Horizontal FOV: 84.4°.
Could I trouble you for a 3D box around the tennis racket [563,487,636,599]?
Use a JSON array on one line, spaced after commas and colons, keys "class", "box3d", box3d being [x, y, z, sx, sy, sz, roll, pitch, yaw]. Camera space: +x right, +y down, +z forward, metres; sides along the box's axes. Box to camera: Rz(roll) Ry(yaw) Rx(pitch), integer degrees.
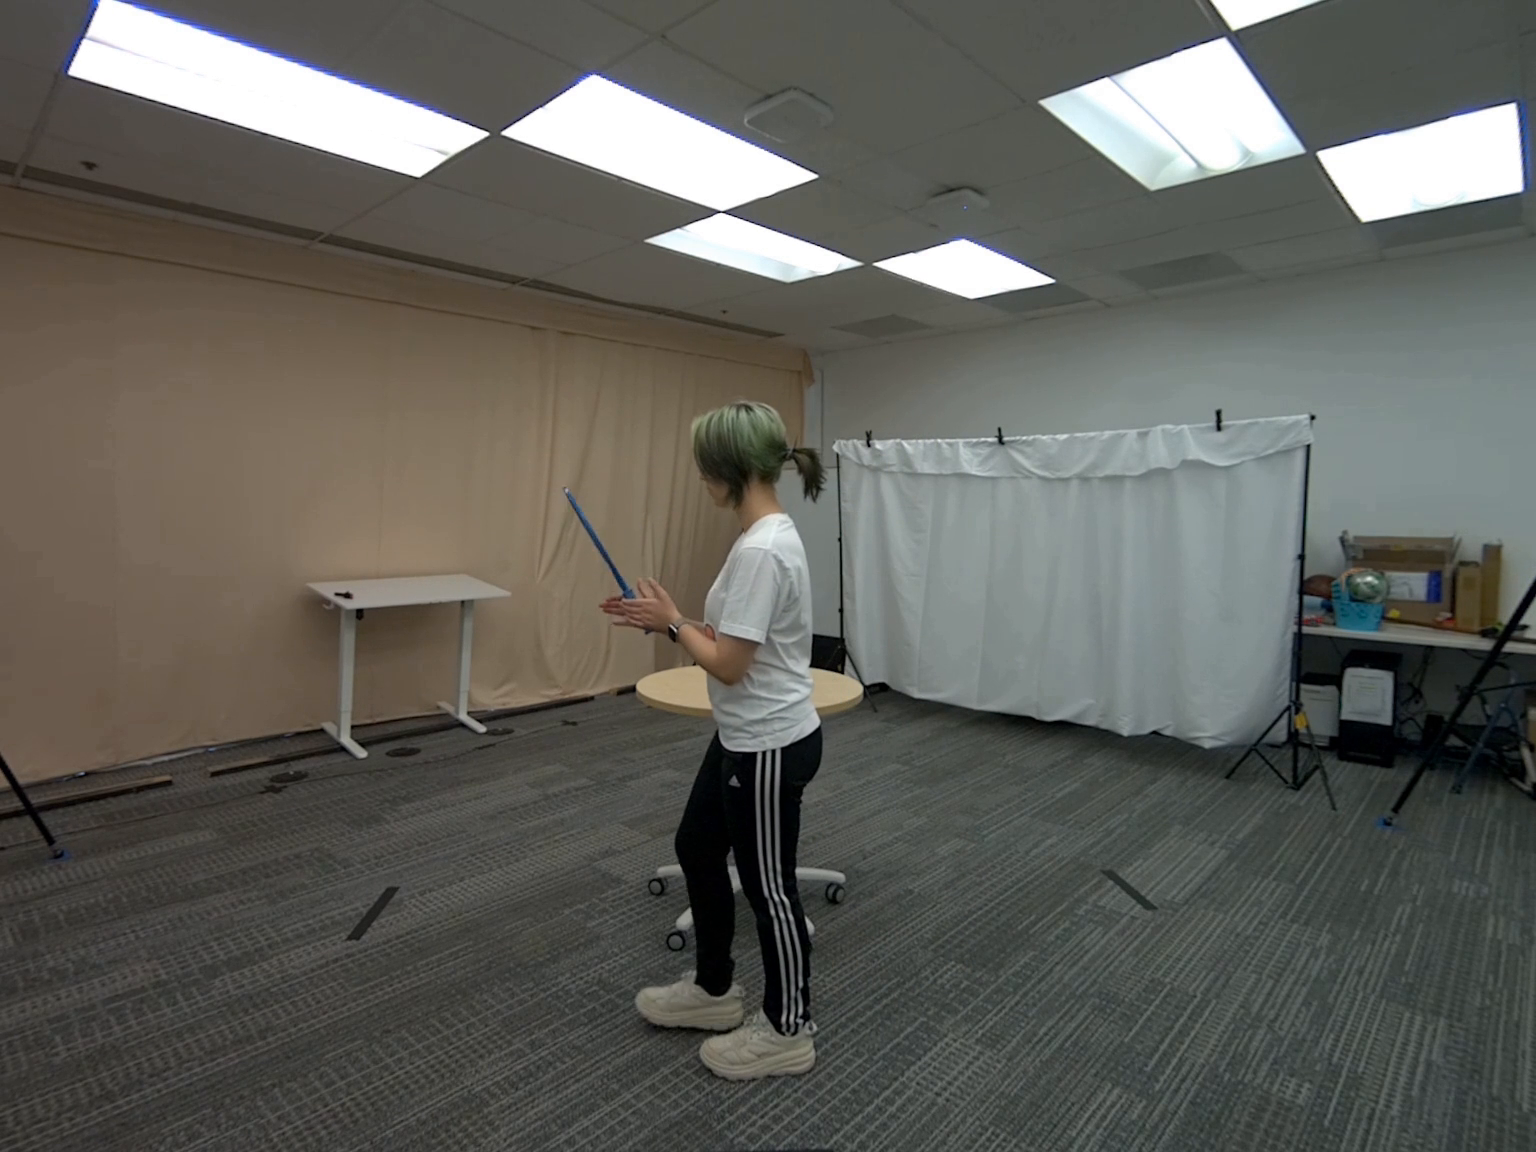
[{"class": "tennis racket", "box3d": [-0.406, -0.044, 2.149, 0.031, 0.433, 0.214, -31, -1, -9]}]
